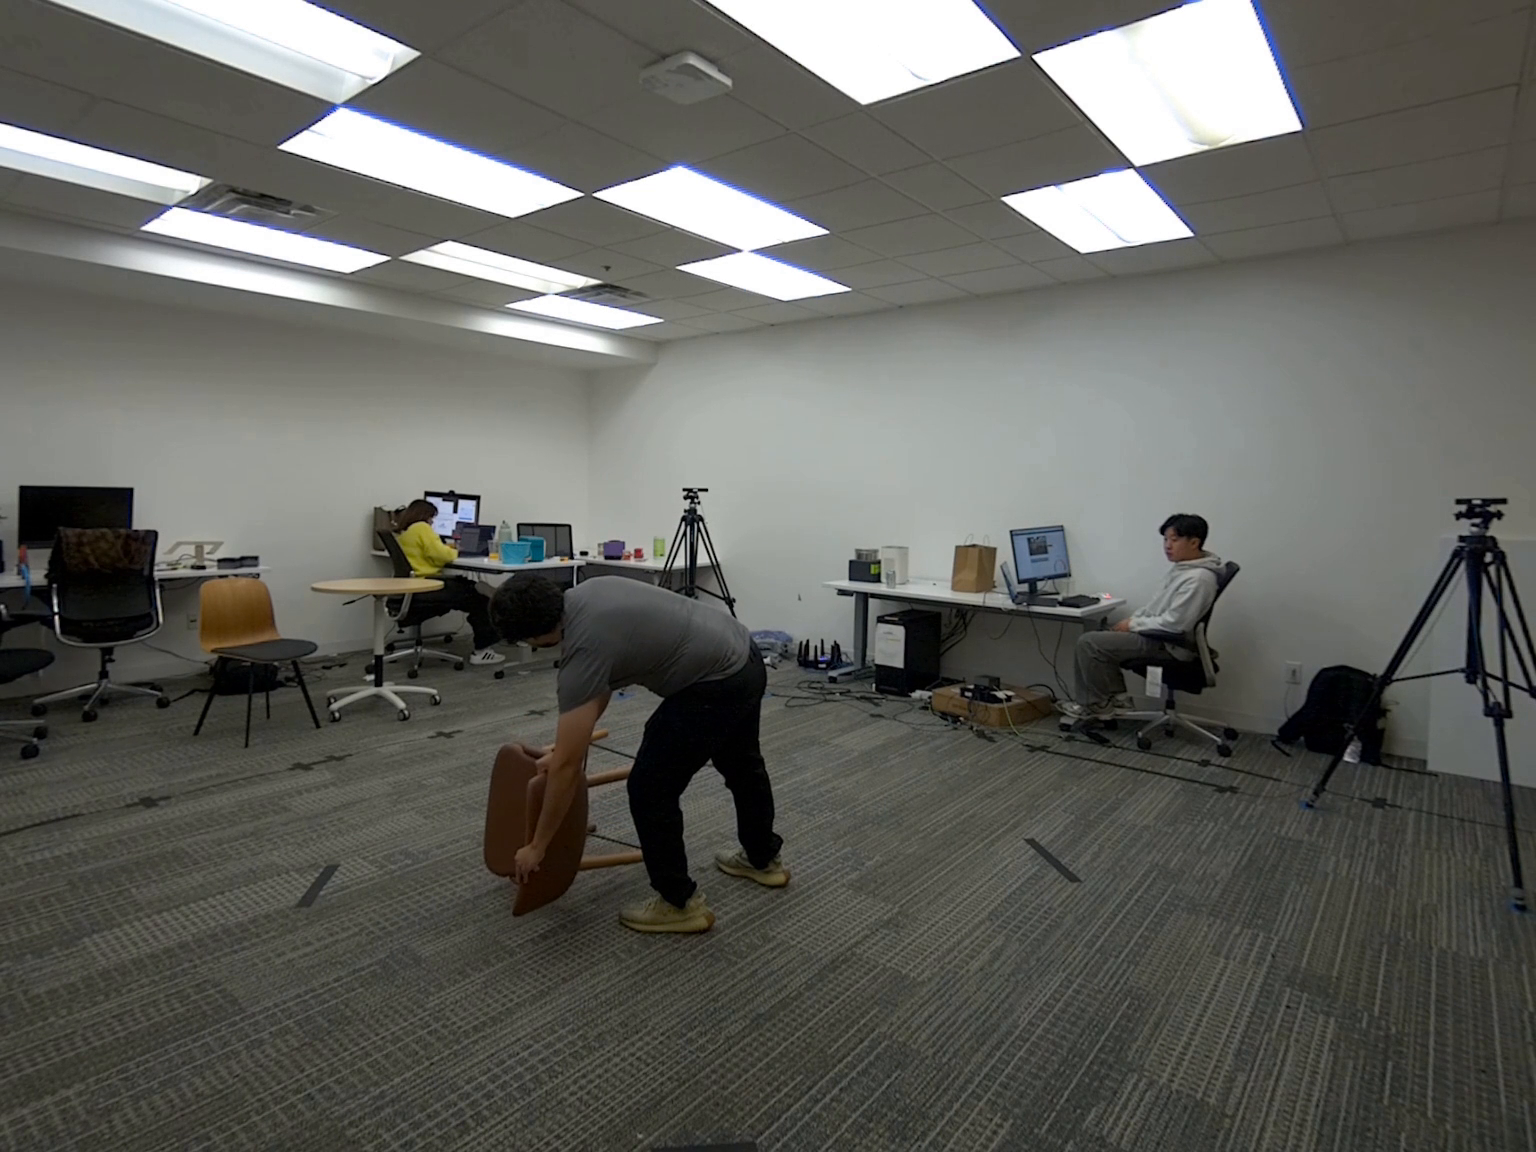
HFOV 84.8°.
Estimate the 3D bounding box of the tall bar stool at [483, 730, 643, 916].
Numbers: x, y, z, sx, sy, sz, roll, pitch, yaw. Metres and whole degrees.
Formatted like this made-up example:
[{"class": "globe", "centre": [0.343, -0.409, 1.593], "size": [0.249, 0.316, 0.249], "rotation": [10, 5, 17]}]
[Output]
[{"class": "tall bar stool", "centre": [-0.714, 0.825, 2.977], "size": [0.481, 0.457, 0.862], "rotation": [6, -1, 28]}]
